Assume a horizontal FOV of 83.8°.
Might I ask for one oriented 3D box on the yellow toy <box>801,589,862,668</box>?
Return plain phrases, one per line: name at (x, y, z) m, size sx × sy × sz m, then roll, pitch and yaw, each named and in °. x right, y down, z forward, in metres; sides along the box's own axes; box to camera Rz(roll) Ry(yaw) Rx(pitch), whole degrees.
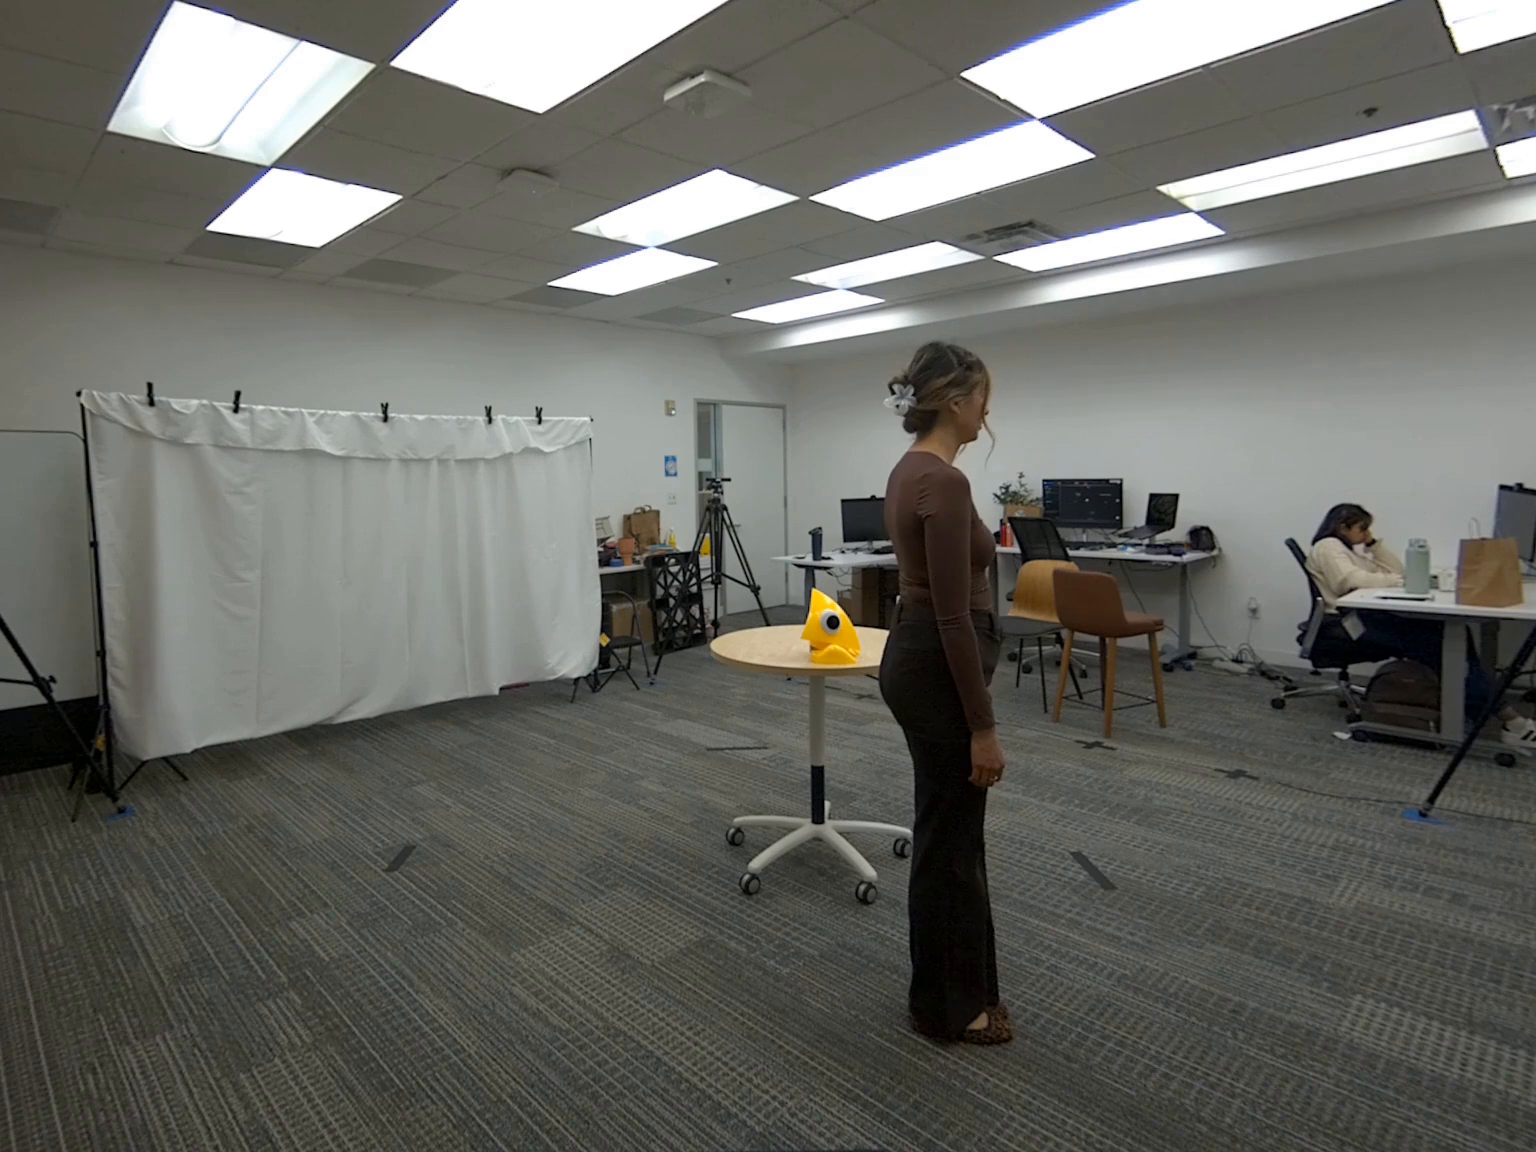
yellow toy at (0.210, 0.155, 2.836) m, size 0.195 × 0.230 × 0.203 m, roll -1°, pitch 5°, yaw 12°
